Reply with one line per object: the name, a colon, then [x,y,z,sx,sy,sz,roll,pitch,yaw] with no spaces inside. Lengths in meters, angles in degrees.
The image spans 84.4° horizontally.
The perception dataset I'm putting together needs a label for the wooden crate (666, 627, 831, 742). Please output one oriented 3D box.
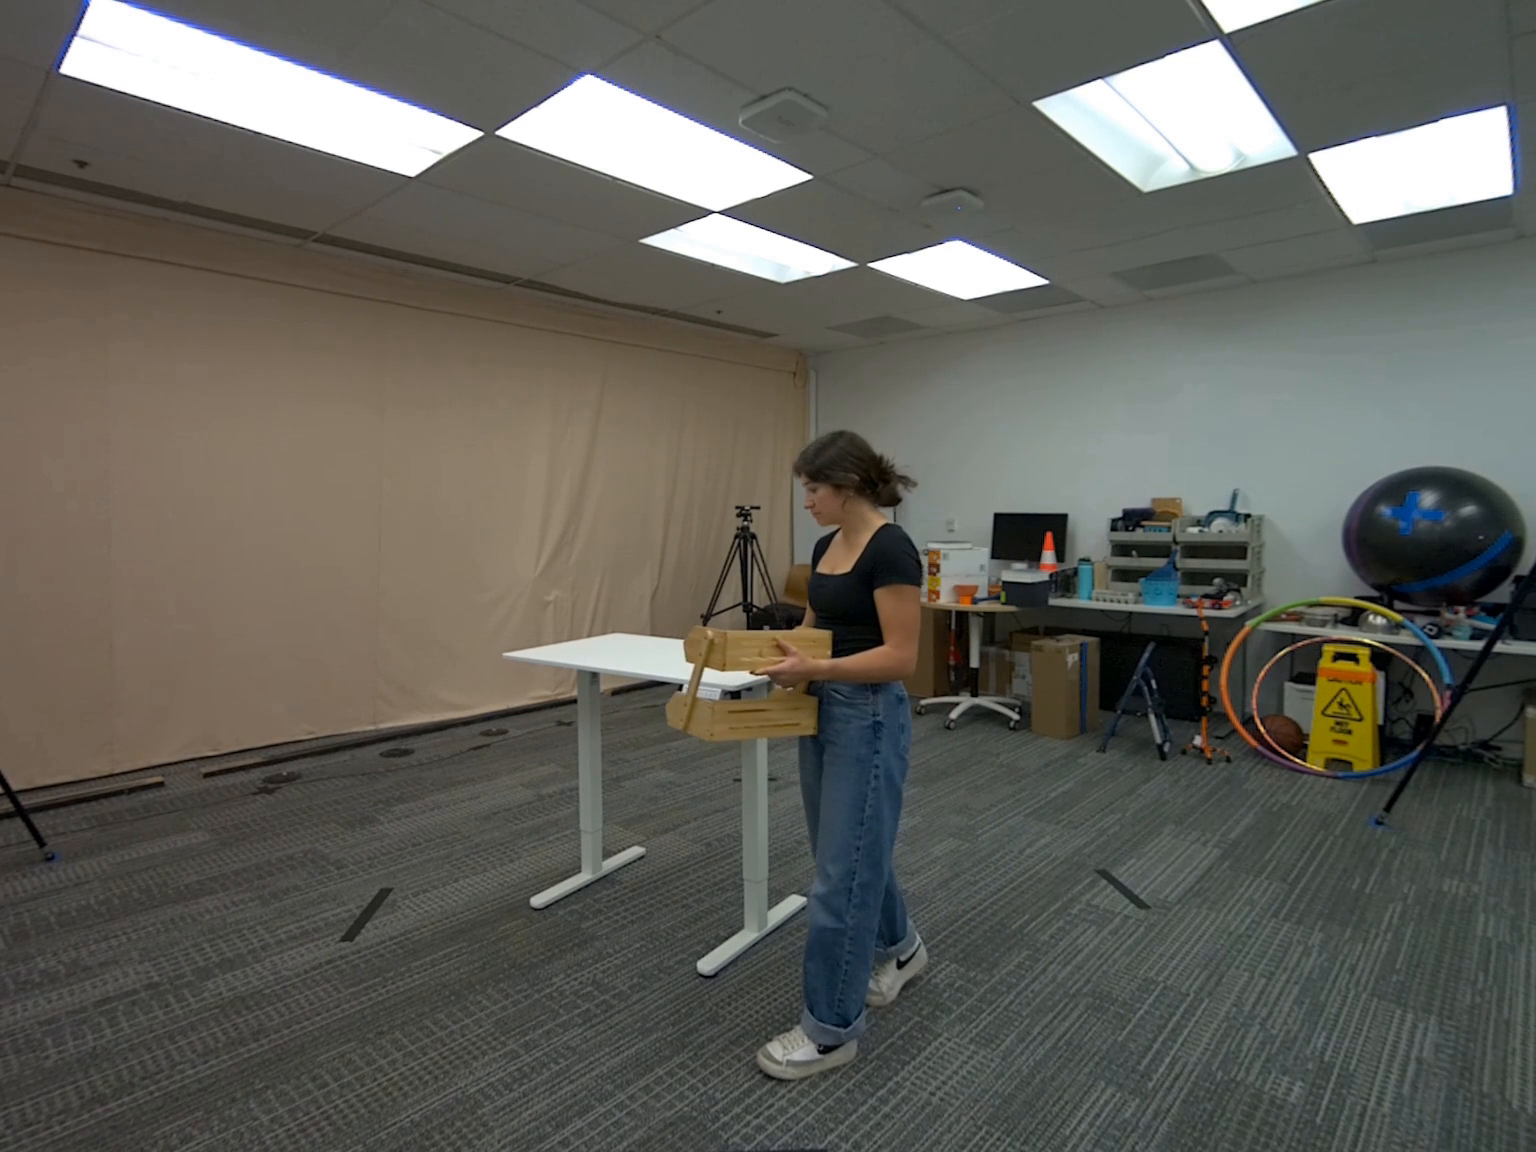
wooden crate: [-0.050,0.252,2.114,0.315,0.273,0.310,3,-1,-31]
